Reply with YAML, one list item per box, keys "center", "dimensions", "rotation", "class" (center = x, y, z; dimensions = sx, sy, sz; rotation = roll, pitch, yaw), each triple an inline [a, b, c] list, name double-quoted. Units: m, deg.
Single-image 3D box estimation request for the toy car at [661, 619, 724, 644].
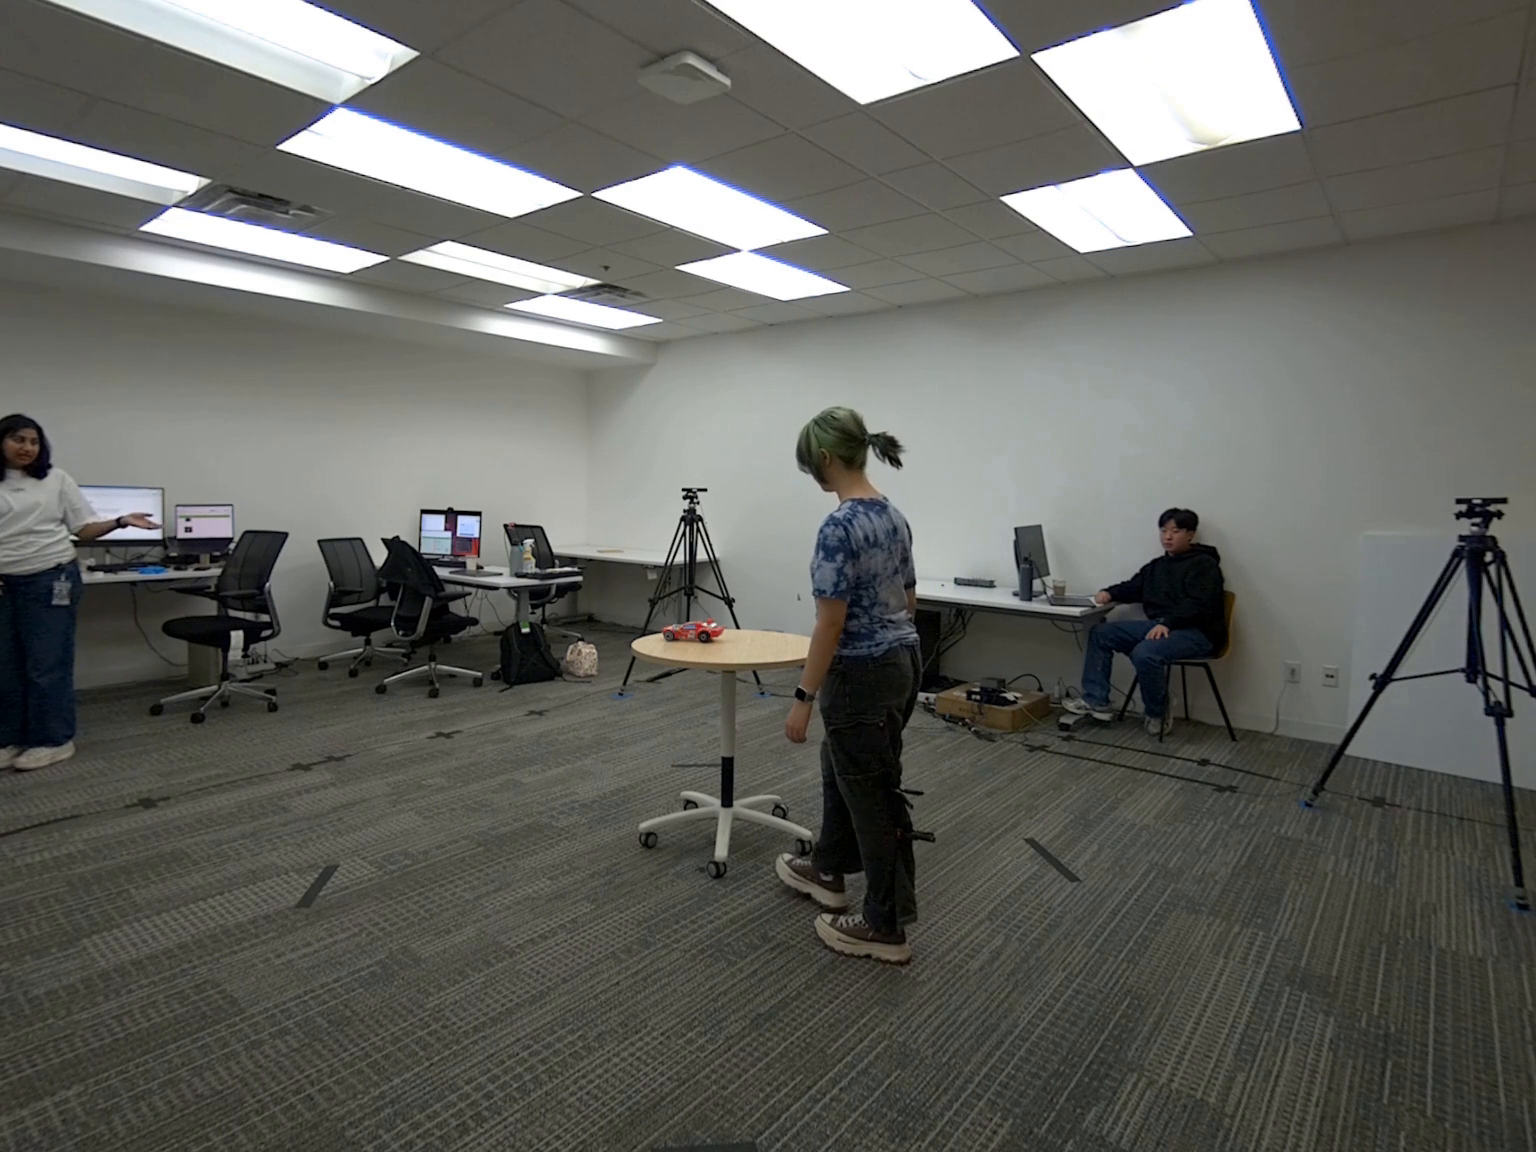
- center: [-0.306, 0.224, 3.429]
  dimensions: [0.257, 0.083, 0.129]
  rotation: [-10, 2, 13]
  class: "toy car"
